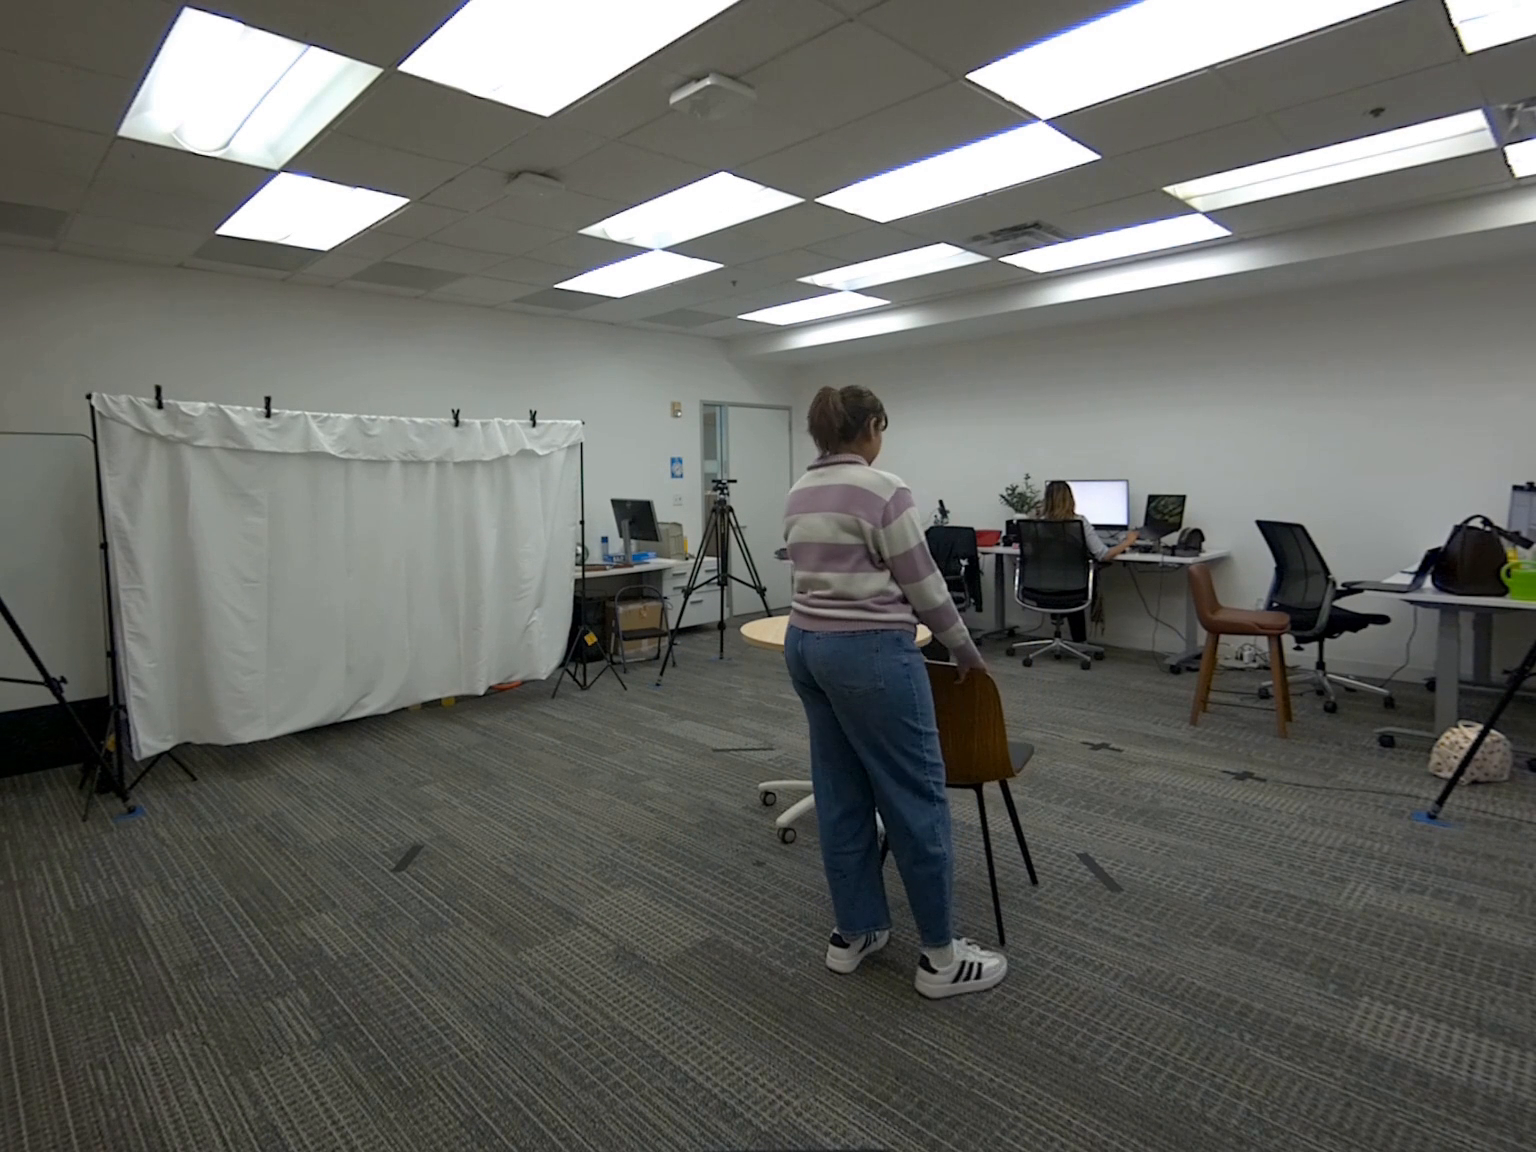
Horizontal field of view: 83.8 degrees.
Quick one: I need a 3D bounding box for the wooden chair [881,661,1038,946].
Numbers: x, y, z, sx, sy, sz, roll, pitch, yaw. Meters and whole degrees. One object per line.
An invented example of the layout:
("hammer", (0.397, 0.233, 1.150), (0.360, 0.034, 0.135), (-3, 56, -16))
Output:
("wooden chair", (0.613, 0.638, 2.823), (0.491, 0.871, 0.513), (1, 9, 31))
